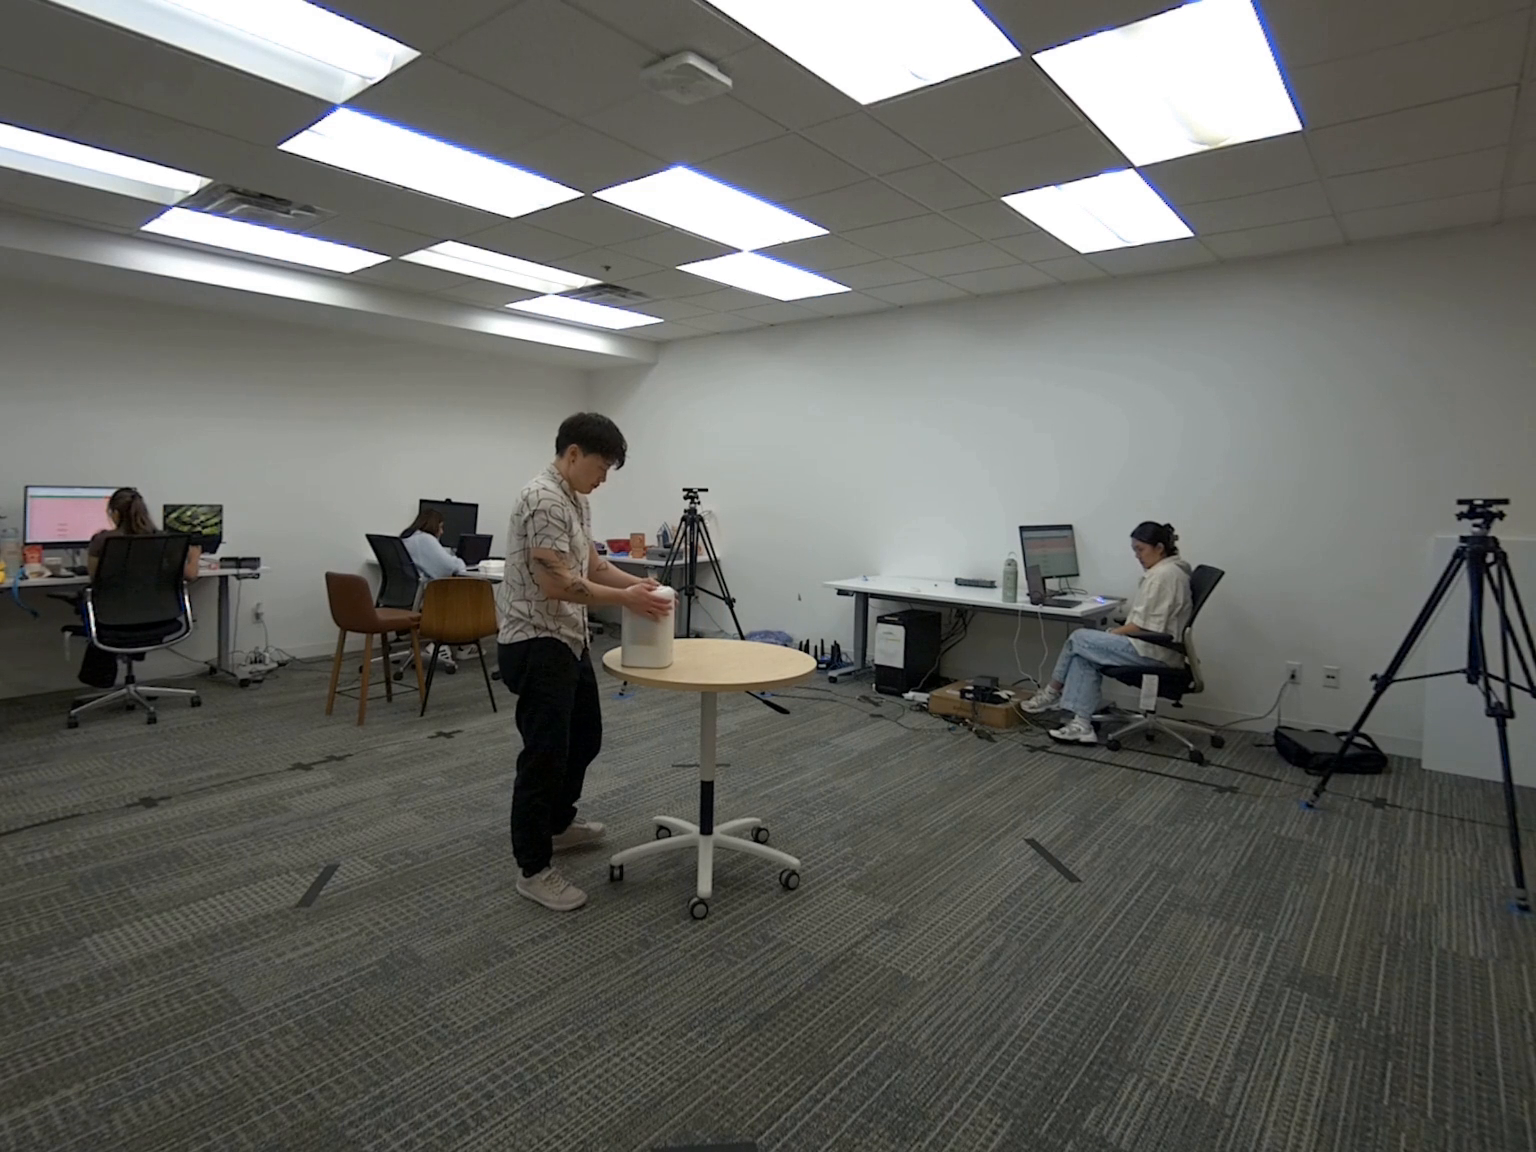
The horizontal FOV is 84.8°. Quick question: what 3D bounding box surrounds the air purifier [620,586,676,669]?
[{"bbox_3d":[-0.426,0.171,2.941,0.173,0.264,0.171,4,5,4],"label":"air purifier"}]
